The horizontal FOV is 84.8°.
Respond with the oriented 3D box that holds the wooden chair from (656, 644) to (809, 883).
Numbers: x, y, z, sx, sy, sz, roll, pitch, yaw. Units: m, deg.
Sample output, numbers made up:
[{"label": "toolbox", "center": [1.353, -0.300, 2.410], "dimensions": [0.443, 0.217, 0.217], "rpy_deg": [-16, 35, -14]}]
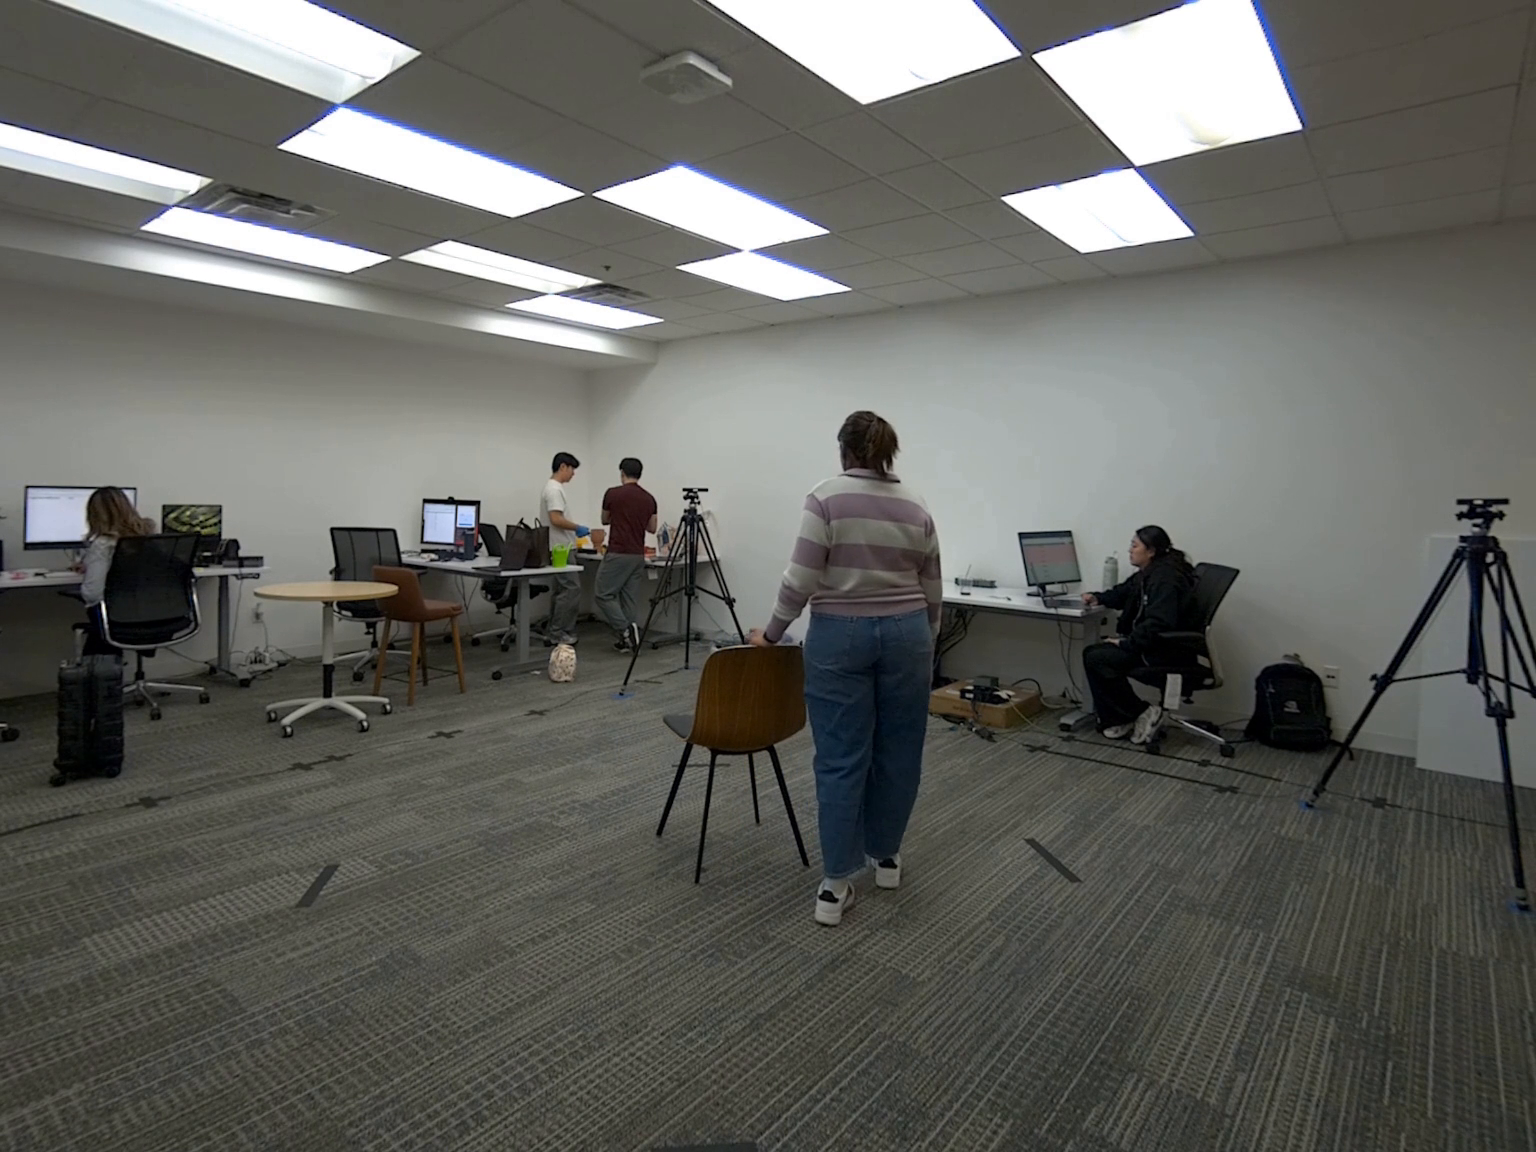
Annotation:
[{"label": "wooden chair", "center": [-0.155, 0.628, 3.260], "dimensions": [0.467, 0.871, 0.539], "rpy_deg": [-1, 8, -24]}]
